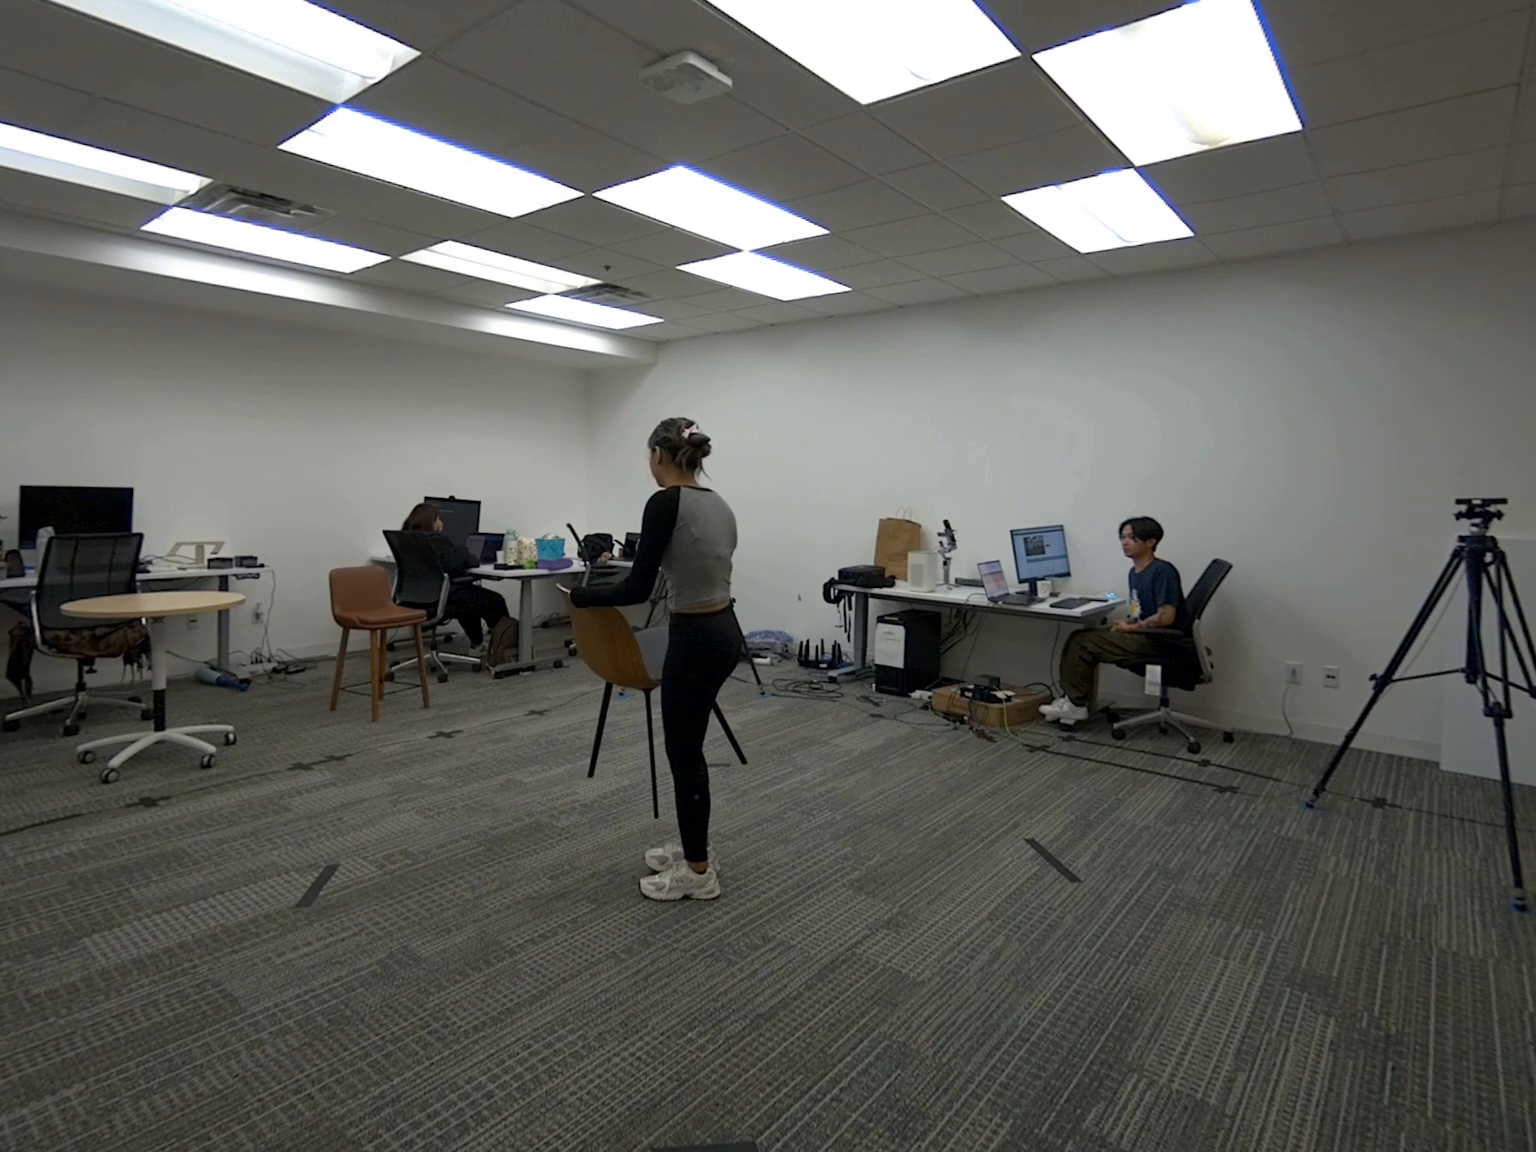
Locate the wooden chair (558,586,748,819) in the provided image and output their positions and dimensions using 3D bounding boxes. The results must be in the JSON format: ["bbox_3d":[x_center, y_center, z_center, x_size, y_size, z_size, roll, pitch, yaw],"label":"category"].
[{"bbox_3d":[-0.455,0.364,3.235,0.515,0.859,0.496,-26,25,-38],"label":"wooden chair"}]
